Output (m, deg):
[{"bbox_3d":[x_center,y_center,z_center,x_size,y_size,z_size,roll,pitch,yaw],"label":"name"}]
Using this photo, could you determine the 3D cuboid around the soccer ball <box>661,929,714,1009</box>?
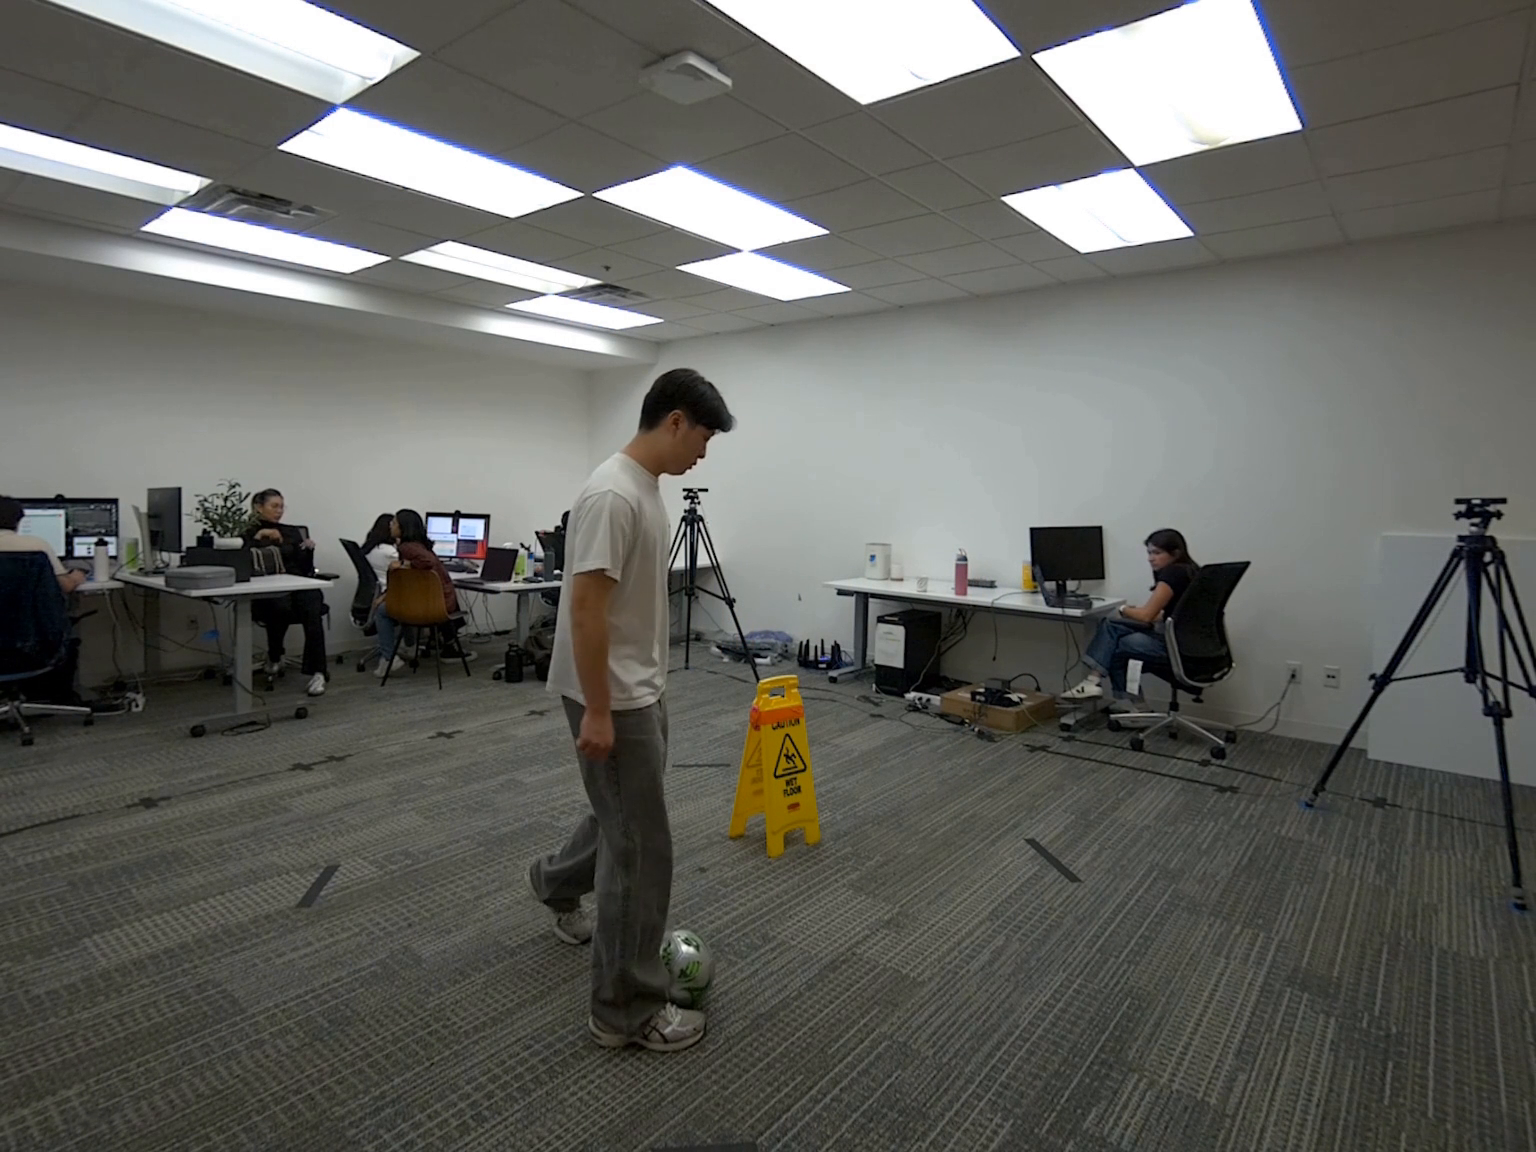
[{"bbox_3d":[-0.232,1.051,2.299,0.187,0.187,0.188,1,4,-2],"label":"soccer ball"}]
